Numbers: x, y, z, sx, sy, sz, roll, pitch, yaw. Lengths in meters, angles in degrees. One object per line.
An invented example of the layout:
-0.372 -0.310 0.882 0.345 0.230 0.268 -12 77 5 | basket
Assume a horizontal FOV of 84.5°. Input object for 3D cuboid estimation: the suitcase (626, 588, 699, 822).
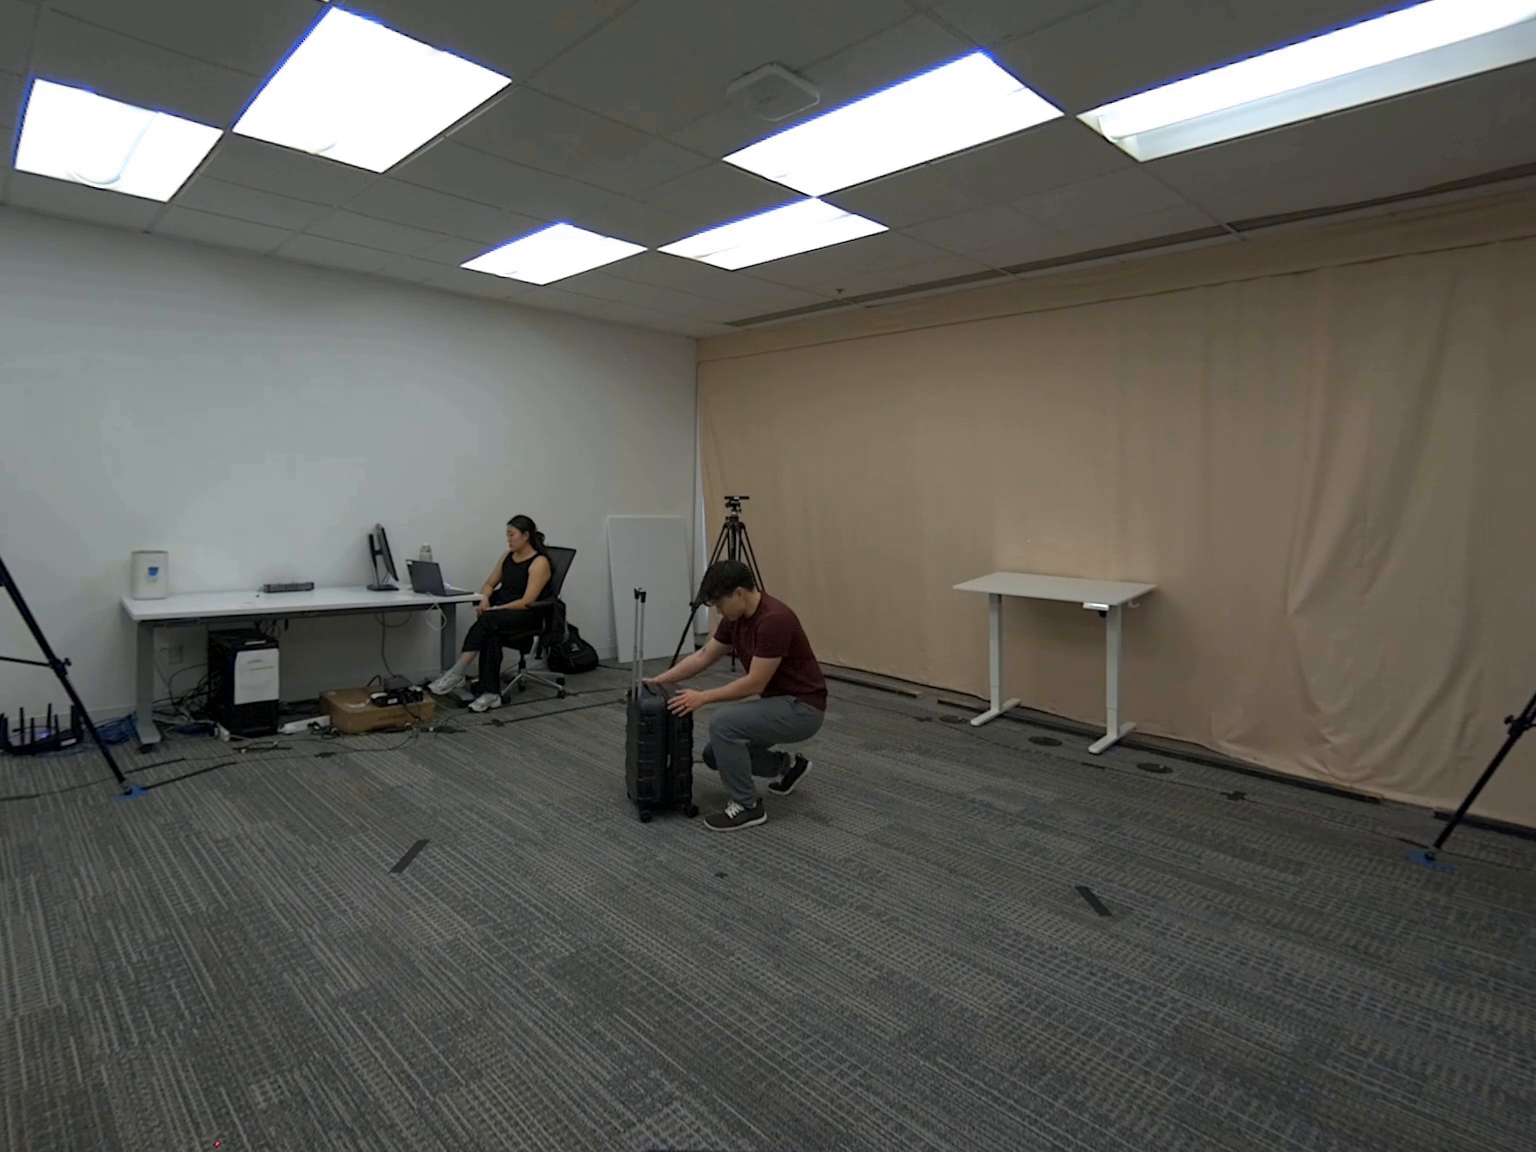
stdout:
-0.487 0.553 3.749 0.254 0.976 0.389 1 3 -16 | suitcase
